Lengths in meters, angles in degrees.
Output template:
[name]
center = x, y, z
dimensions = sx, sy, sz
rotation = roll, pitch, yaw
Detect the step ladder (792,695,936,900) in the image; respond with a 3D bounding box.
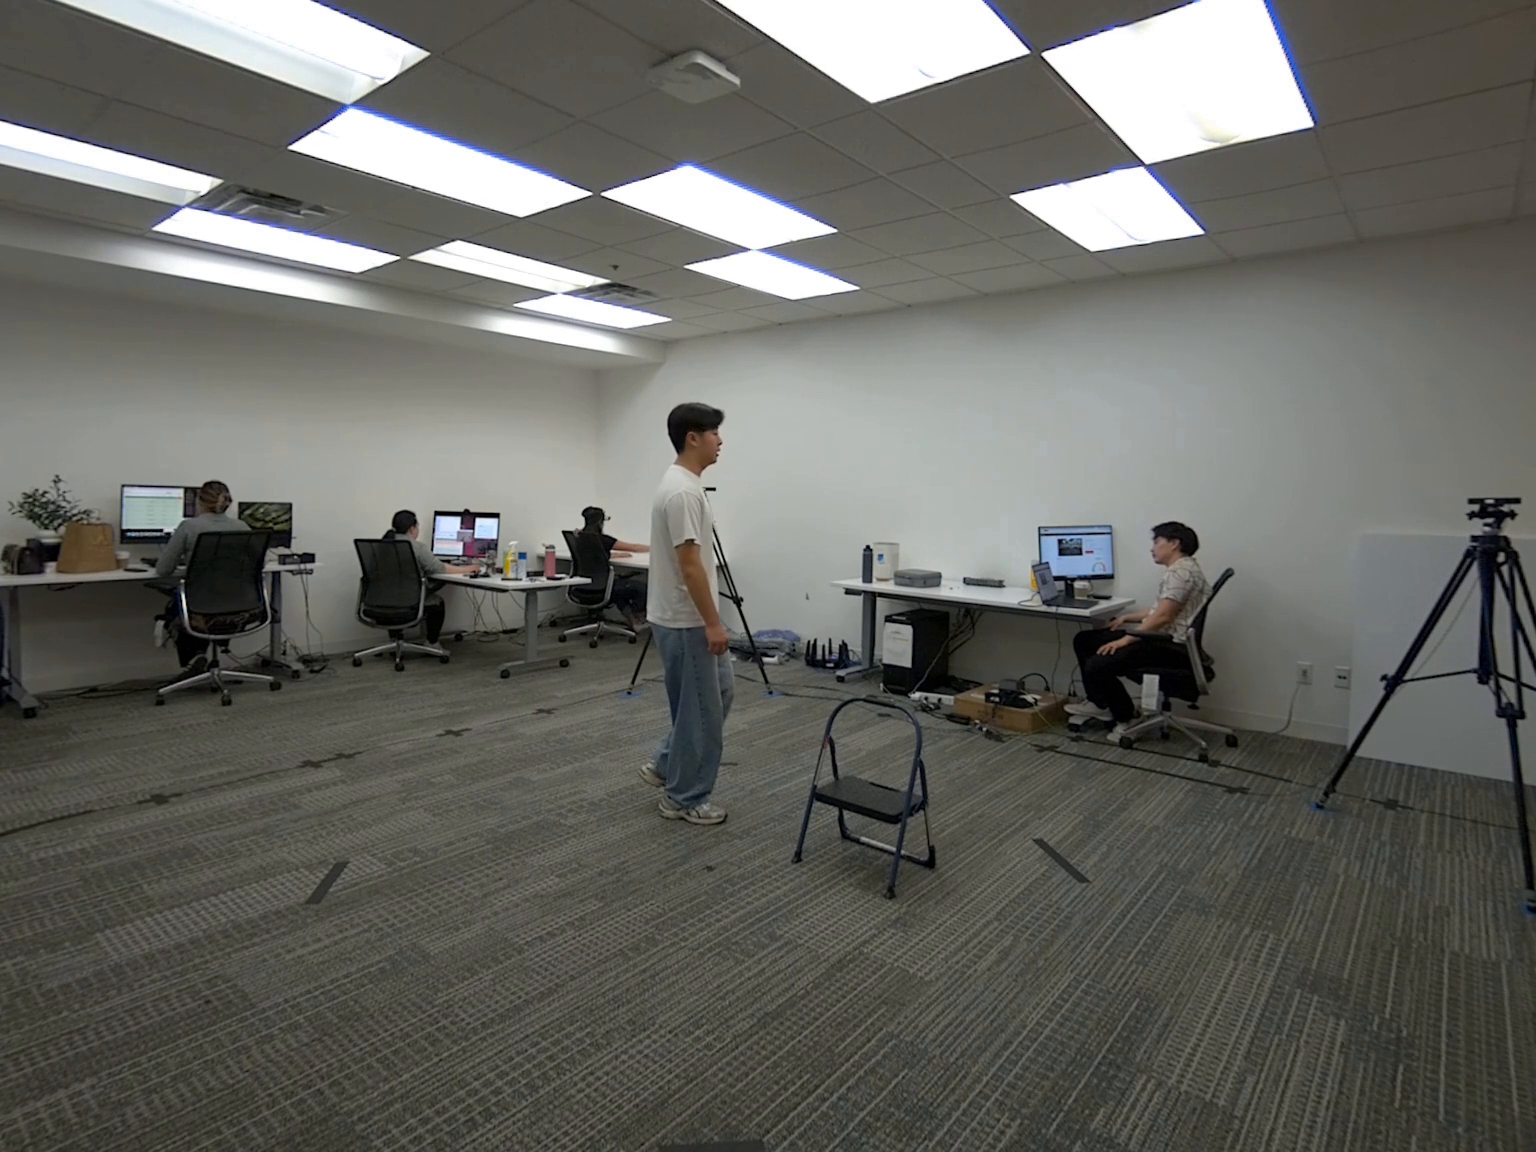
[step ladder]
center = 0.359, 0.768, 3.157
dimensions = 0.445, 0.604, 0.339
rotation = 5, 5, 39
